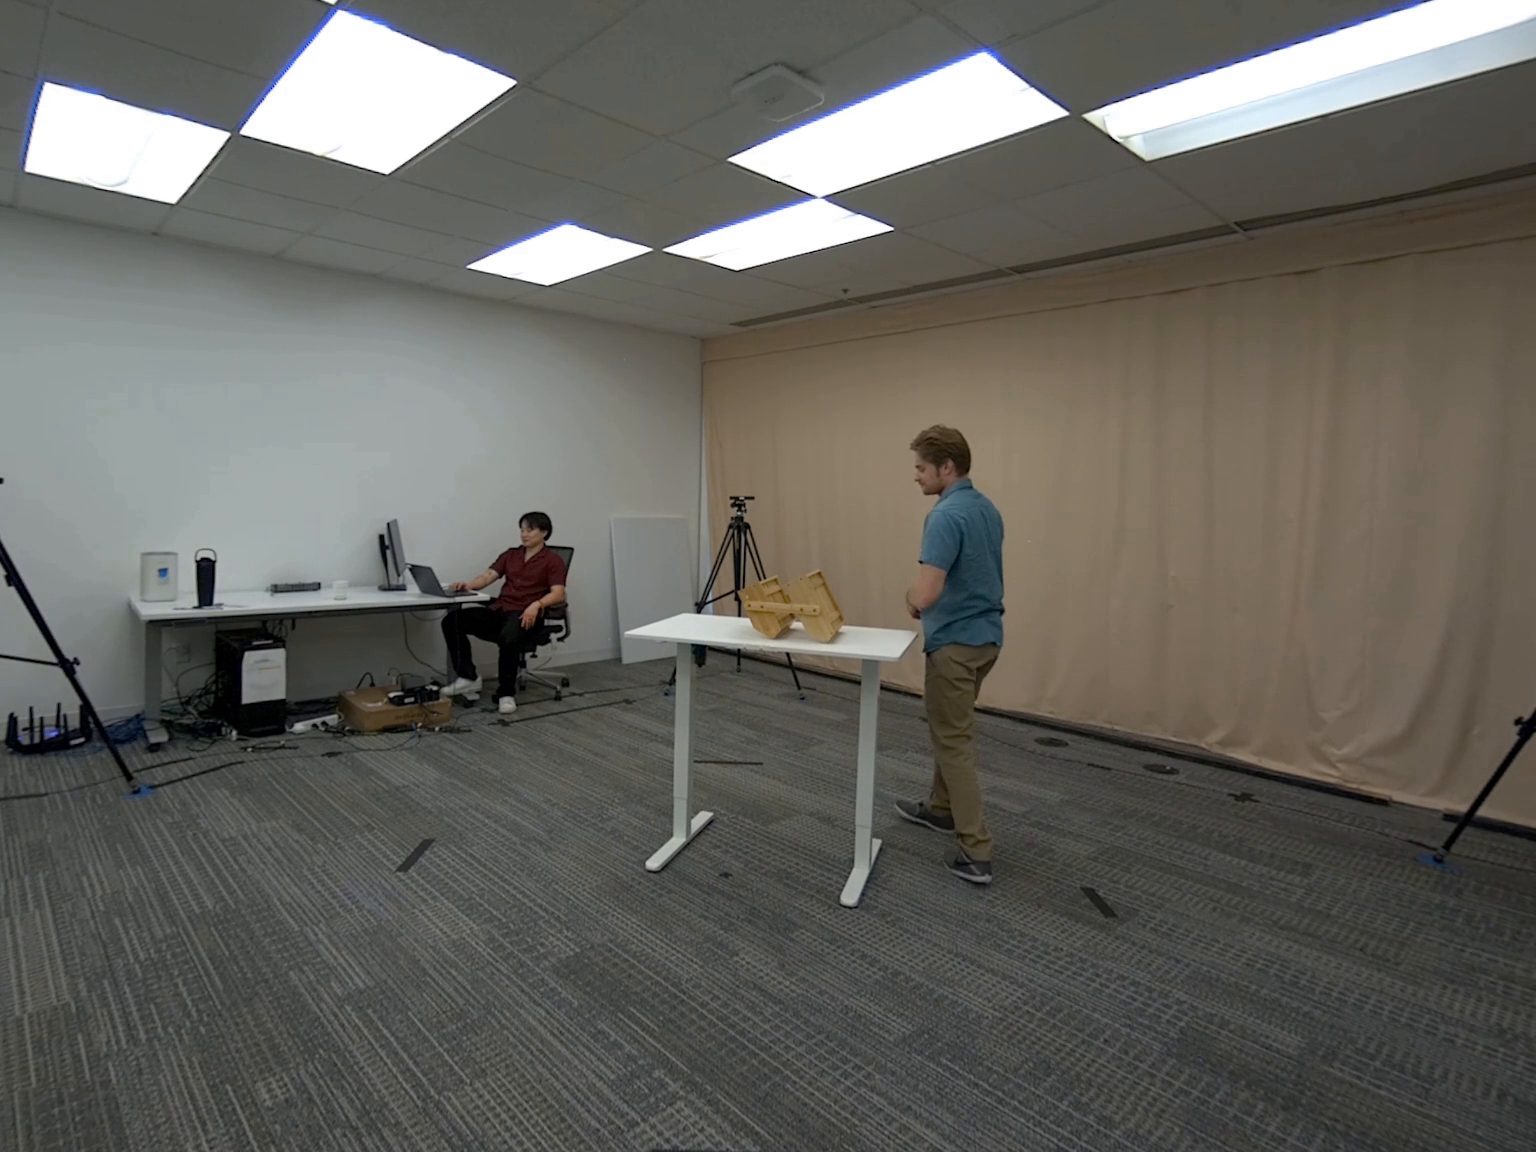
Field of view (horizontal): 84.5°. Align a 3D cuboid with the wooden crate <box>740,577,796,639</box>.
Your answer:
[{"bbox_3d":[0.081,0.131,3.167,0.275,0.303,0.321,-24,-3,14],"label":"wooden crate"}]
